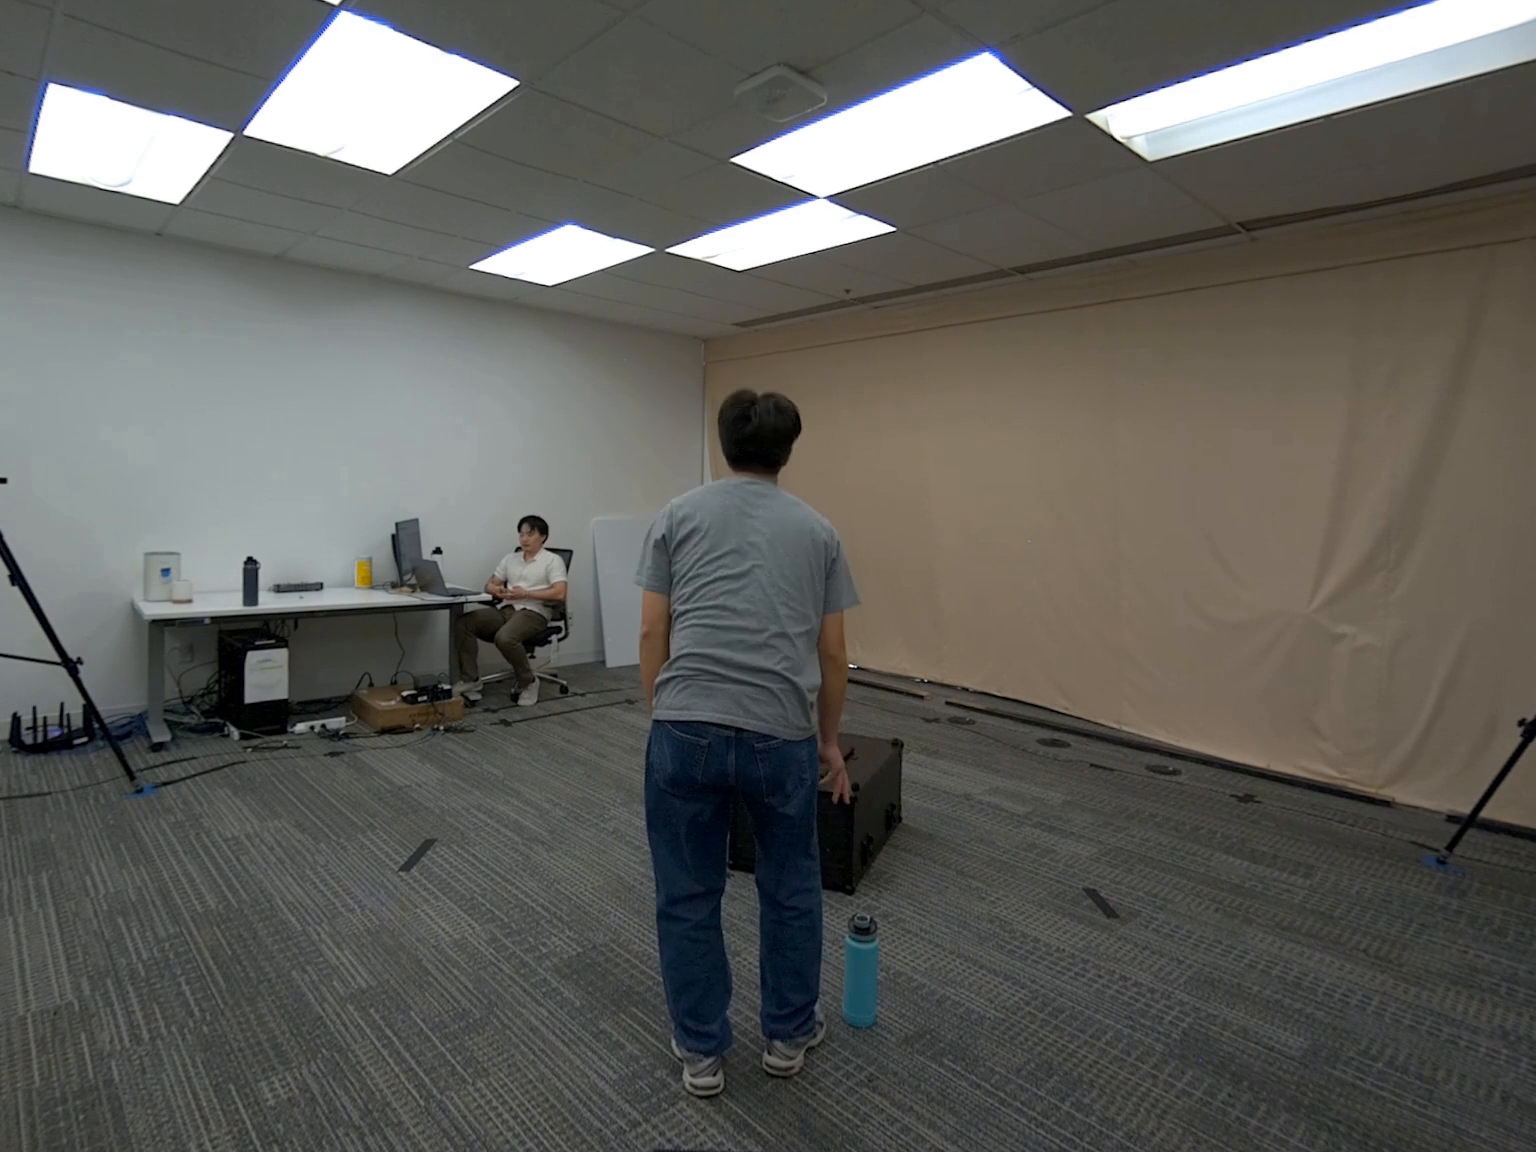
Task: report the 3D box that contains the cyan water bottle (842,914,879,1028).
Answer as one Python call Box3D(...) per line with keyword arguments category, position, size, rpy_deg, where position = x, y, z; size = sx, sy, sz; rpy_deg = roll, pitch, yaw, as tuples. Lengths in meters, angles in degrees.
Box3D(category="cyan water bottle", position=(0.250, 1.058, 2.259), size=(0.092, 0.283, 0.092), rpy_deg=(2, 3, -2))
